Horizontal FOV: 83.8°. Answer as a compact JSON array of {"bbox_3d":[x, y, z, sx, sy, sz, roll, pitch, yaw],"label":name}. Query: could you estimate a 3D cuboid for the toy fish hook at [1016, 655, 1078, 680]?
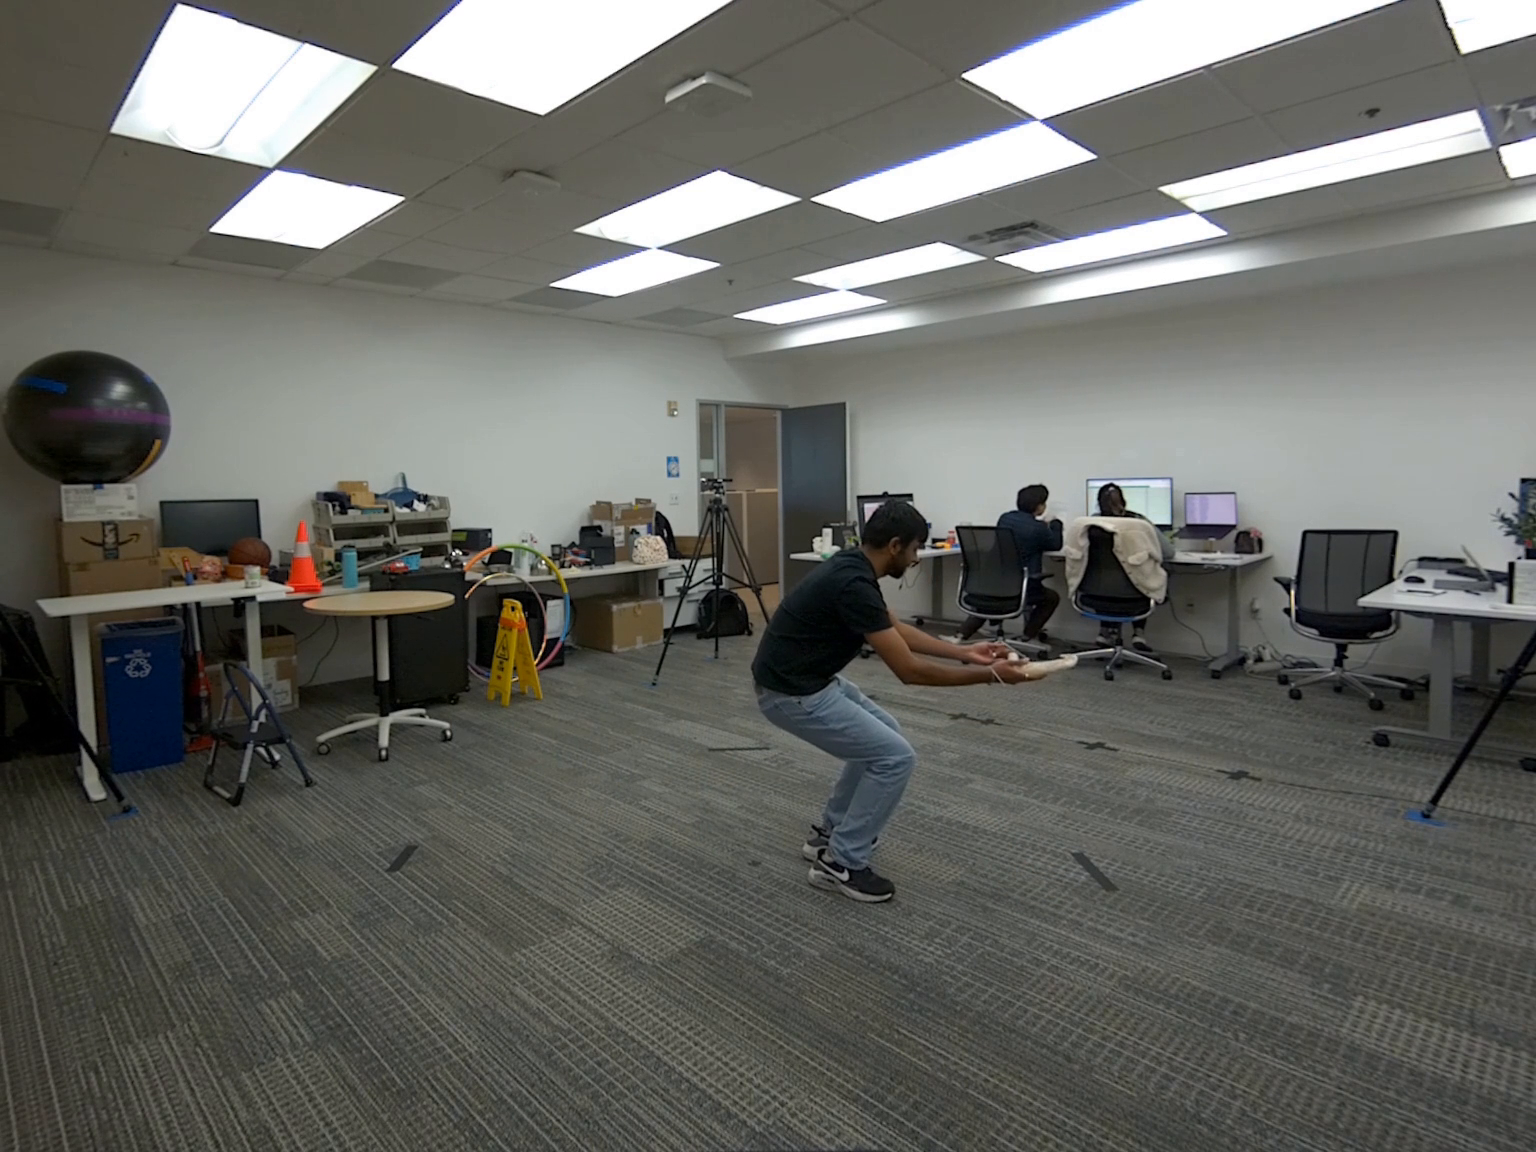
[{"bbox_3d":[0.909,0.289,2.958,0.225,0.048,0.507,-6,4,1],"label":"toy fish hook"}]
